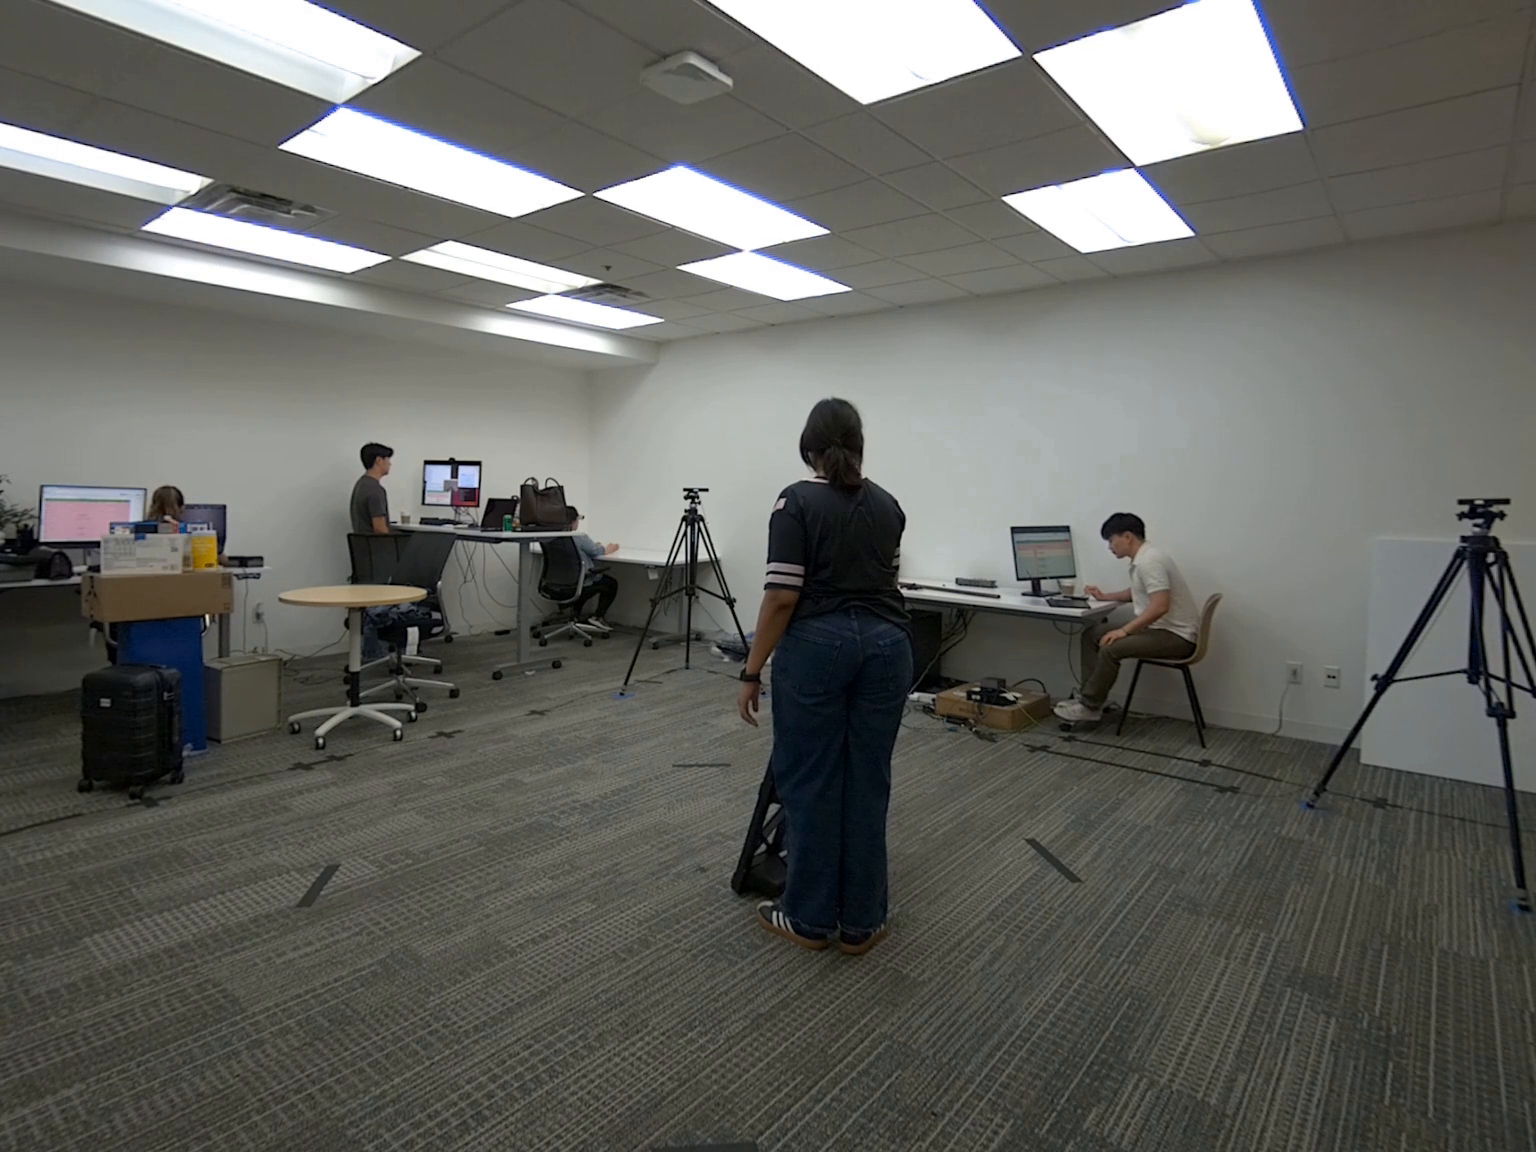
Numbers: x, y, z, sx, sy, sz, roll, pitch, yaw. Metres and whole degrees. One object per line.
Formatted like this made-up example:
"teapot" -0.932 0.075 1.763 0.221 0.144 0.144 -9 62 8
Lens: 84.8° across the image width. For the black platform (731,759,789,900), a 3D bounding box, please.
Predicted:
"black platform" 0.194 0.710 3.017 0.149 0.798 0.587 25 17 35
